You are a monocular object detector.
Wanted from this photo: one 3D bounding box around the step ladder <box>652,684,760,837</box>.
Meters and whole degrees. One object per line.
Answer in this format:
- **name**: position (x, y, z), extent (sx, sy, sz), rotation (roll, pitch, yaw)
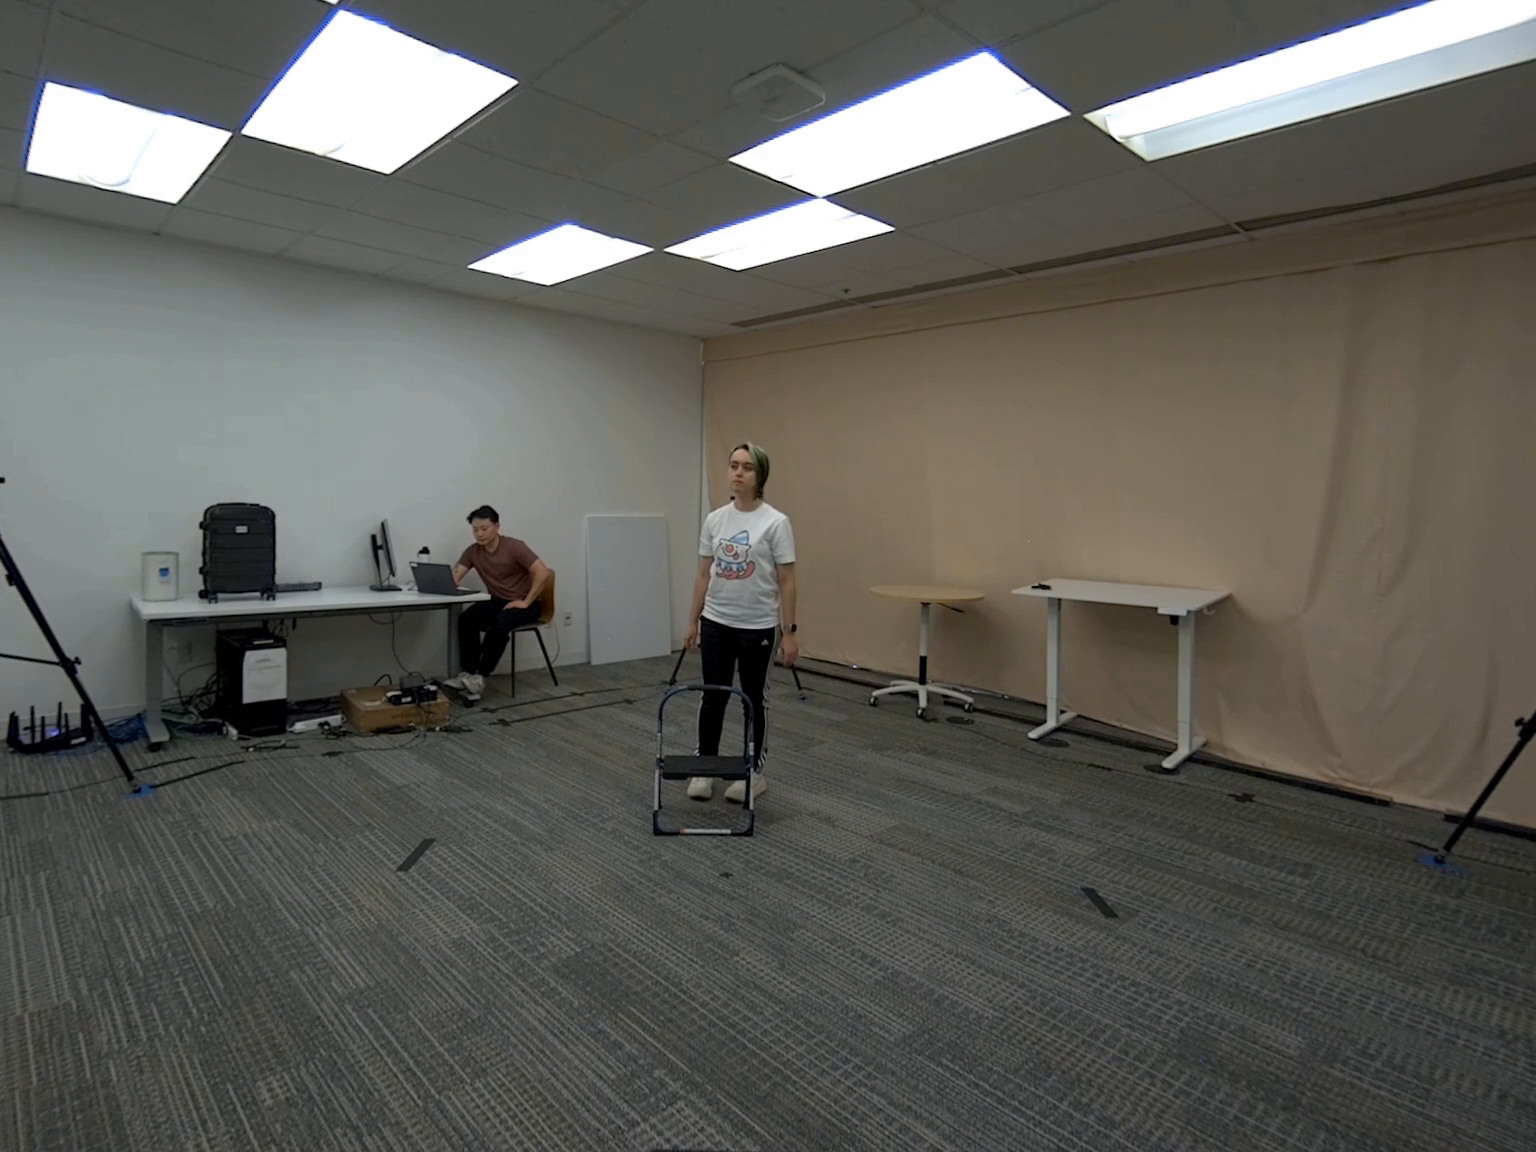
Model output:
- **step ladder**: position (-0.286, 0.761, 3.613), extent (0.429, 0.604, 0.351), rotation (3, 4, -3)
